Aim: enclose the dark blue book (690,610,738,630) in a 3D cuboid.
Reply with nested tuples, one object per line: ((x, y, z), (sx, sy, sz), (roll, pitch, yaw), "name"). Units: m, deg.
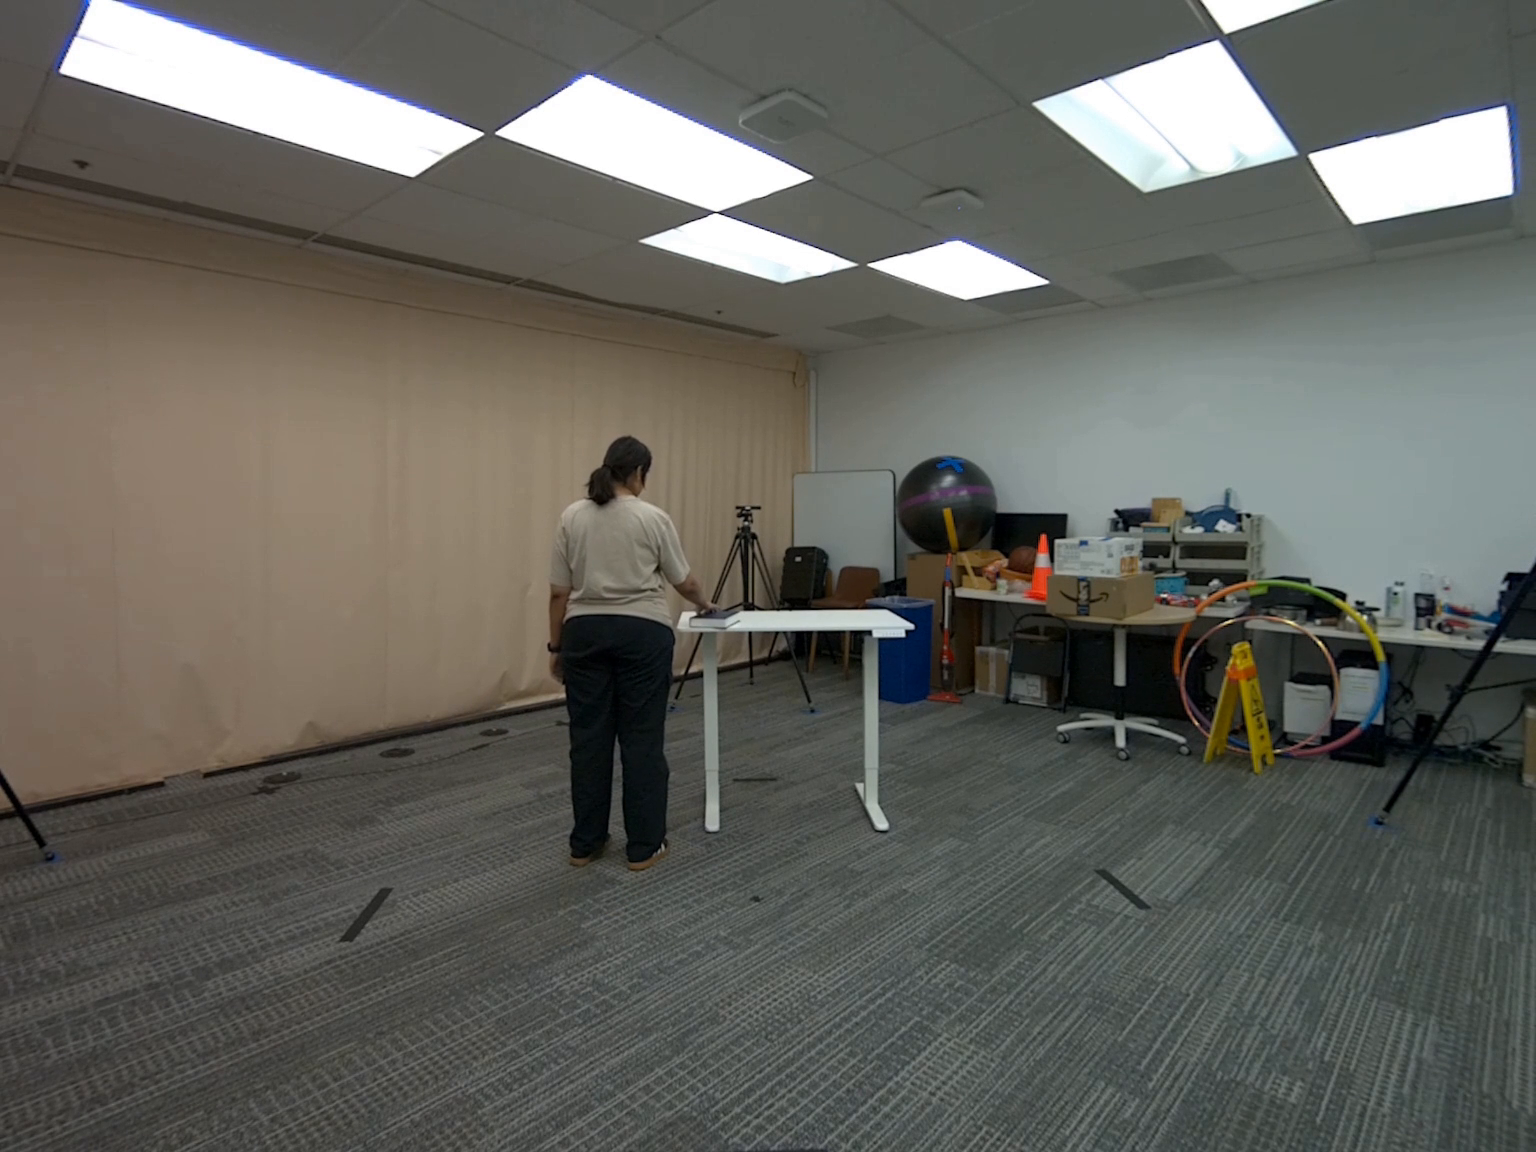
((-0.228, 0.188, 3.673), (0.165, 0.045, 0.242), (0, 4, 11), "dark blue book")
